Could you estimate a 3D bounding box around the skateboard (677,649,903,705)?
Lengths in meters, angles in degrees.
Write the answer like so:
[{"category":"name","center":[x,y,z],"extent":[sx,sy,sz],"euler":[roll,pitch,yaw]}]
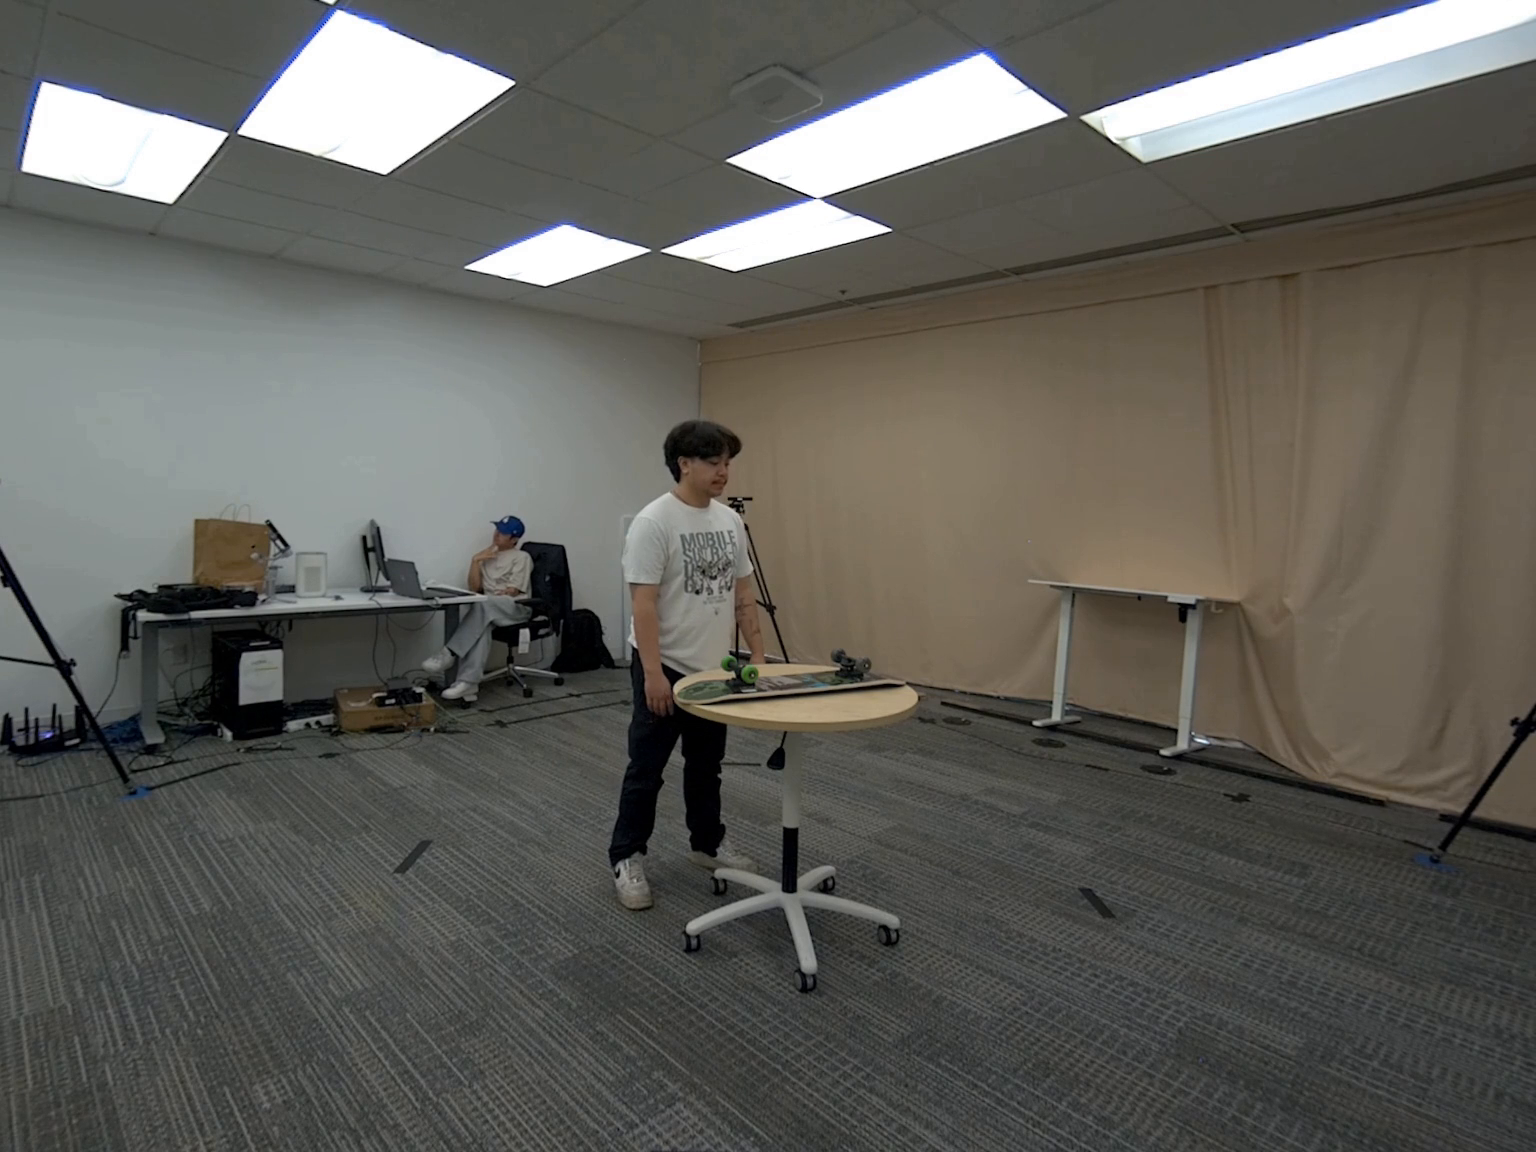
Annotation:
[{"category":"skateboard","center":[0.082,0.312,2.638],"extent":[0.772,0.110,0.197],"euler":[-1,6,-24]}]
